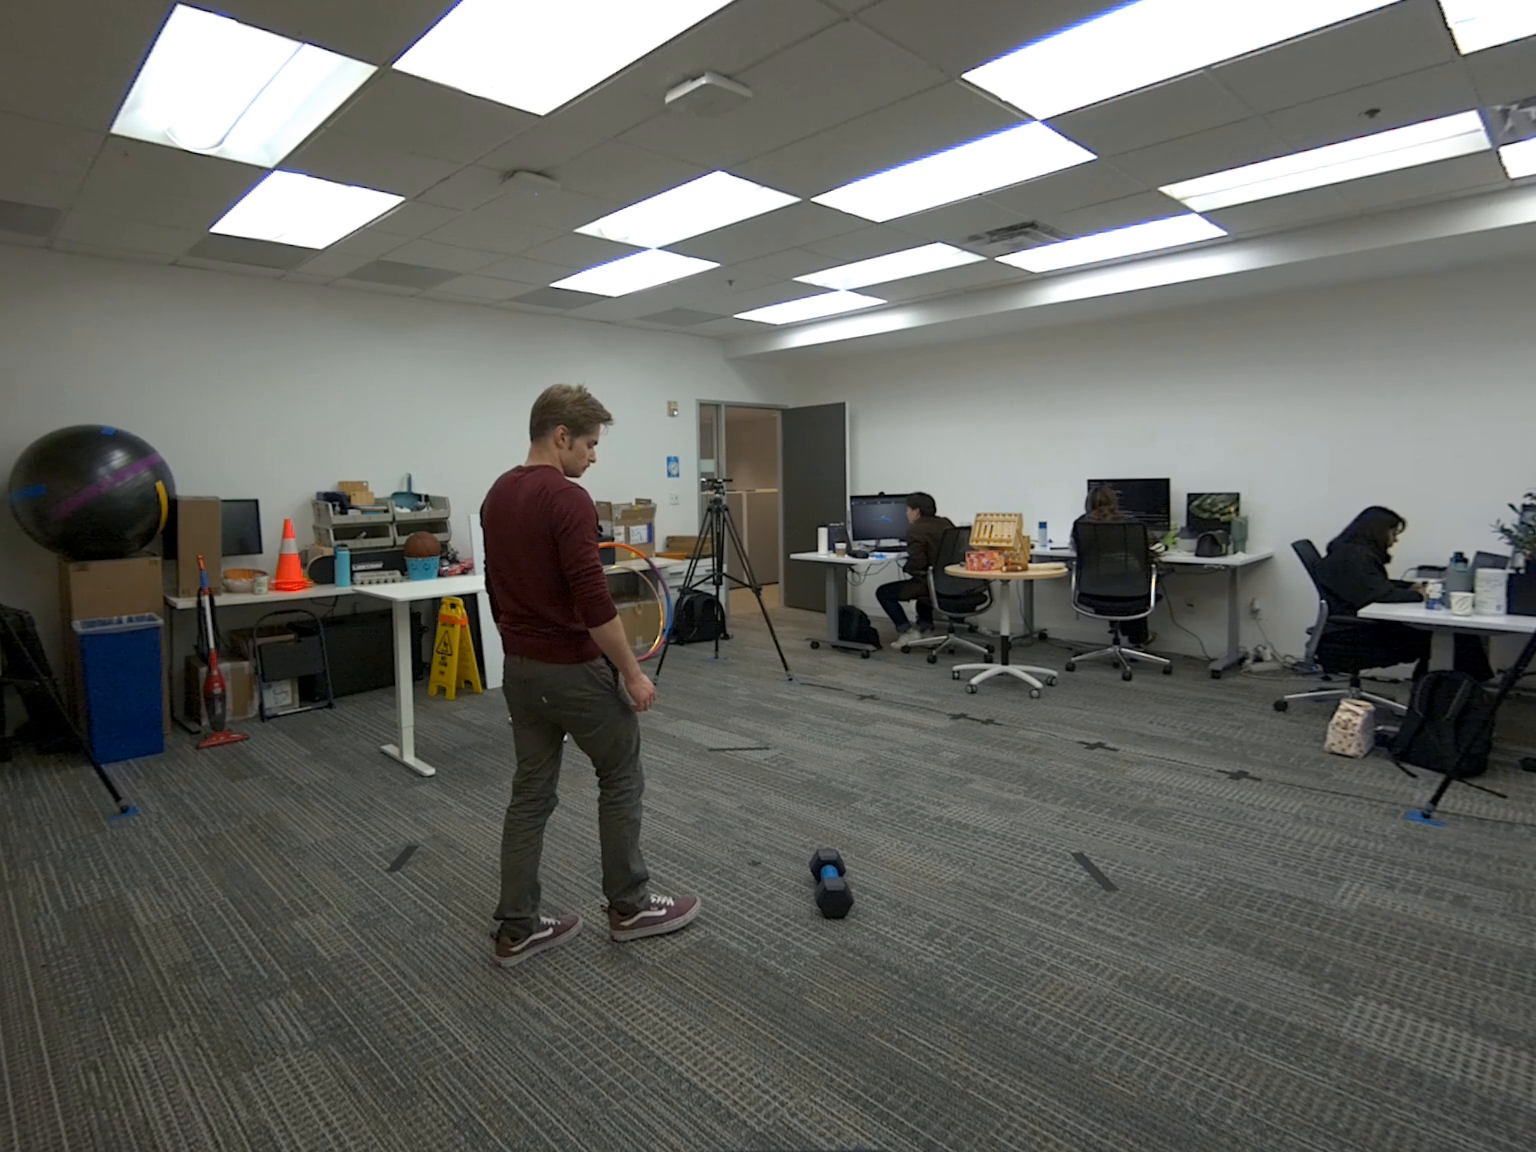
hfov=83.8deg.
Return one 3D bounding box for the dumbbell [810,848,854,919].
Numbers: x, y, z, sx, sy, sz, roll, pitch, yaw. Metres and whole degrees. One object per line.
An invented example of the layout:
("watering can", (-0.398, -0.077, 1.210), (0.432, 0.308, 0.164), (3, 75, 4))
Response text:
("dumbbell", (0.211, 1.020, 2.839), (0.109, 0.122, 0.295), (-31, 6, 2))
